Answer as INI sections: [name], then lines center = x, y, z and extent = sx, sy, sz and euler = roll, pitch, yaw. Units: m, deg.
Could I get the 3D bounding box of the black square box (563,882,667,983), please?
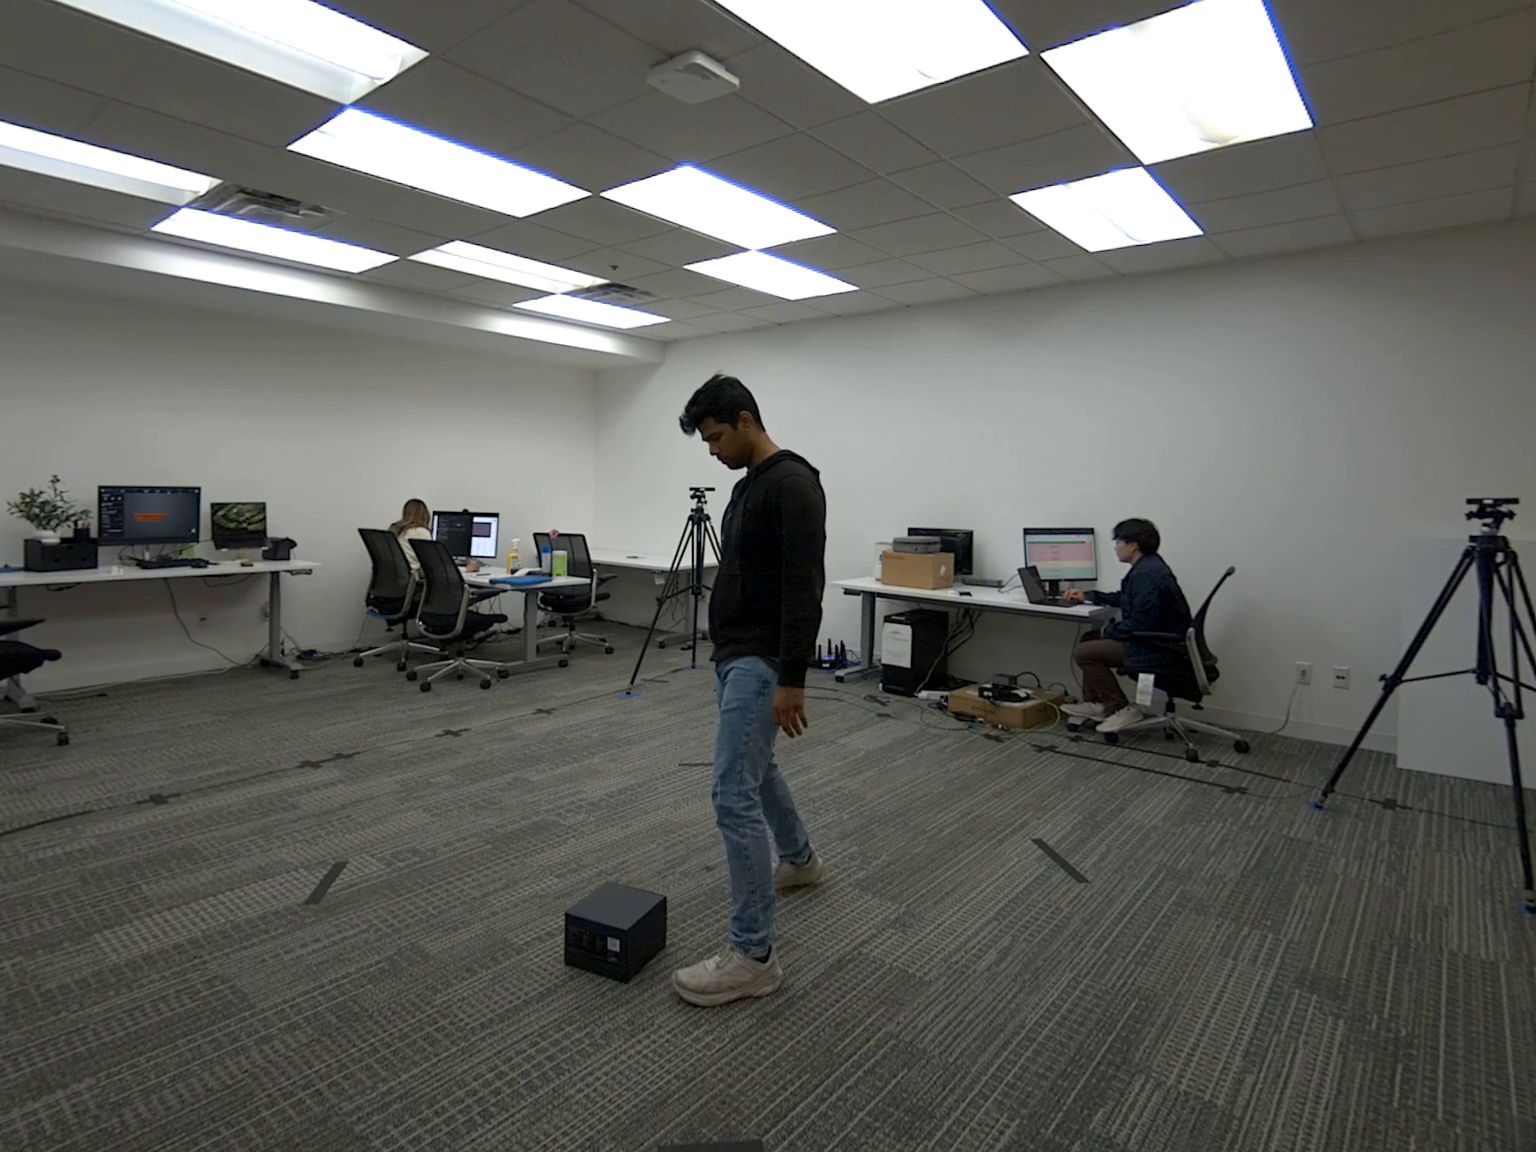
[black square box]
center = -0.447, 1.039, 2.504
extent = 0.222, 0.155, 0.223
euler = 2, 5, 24
